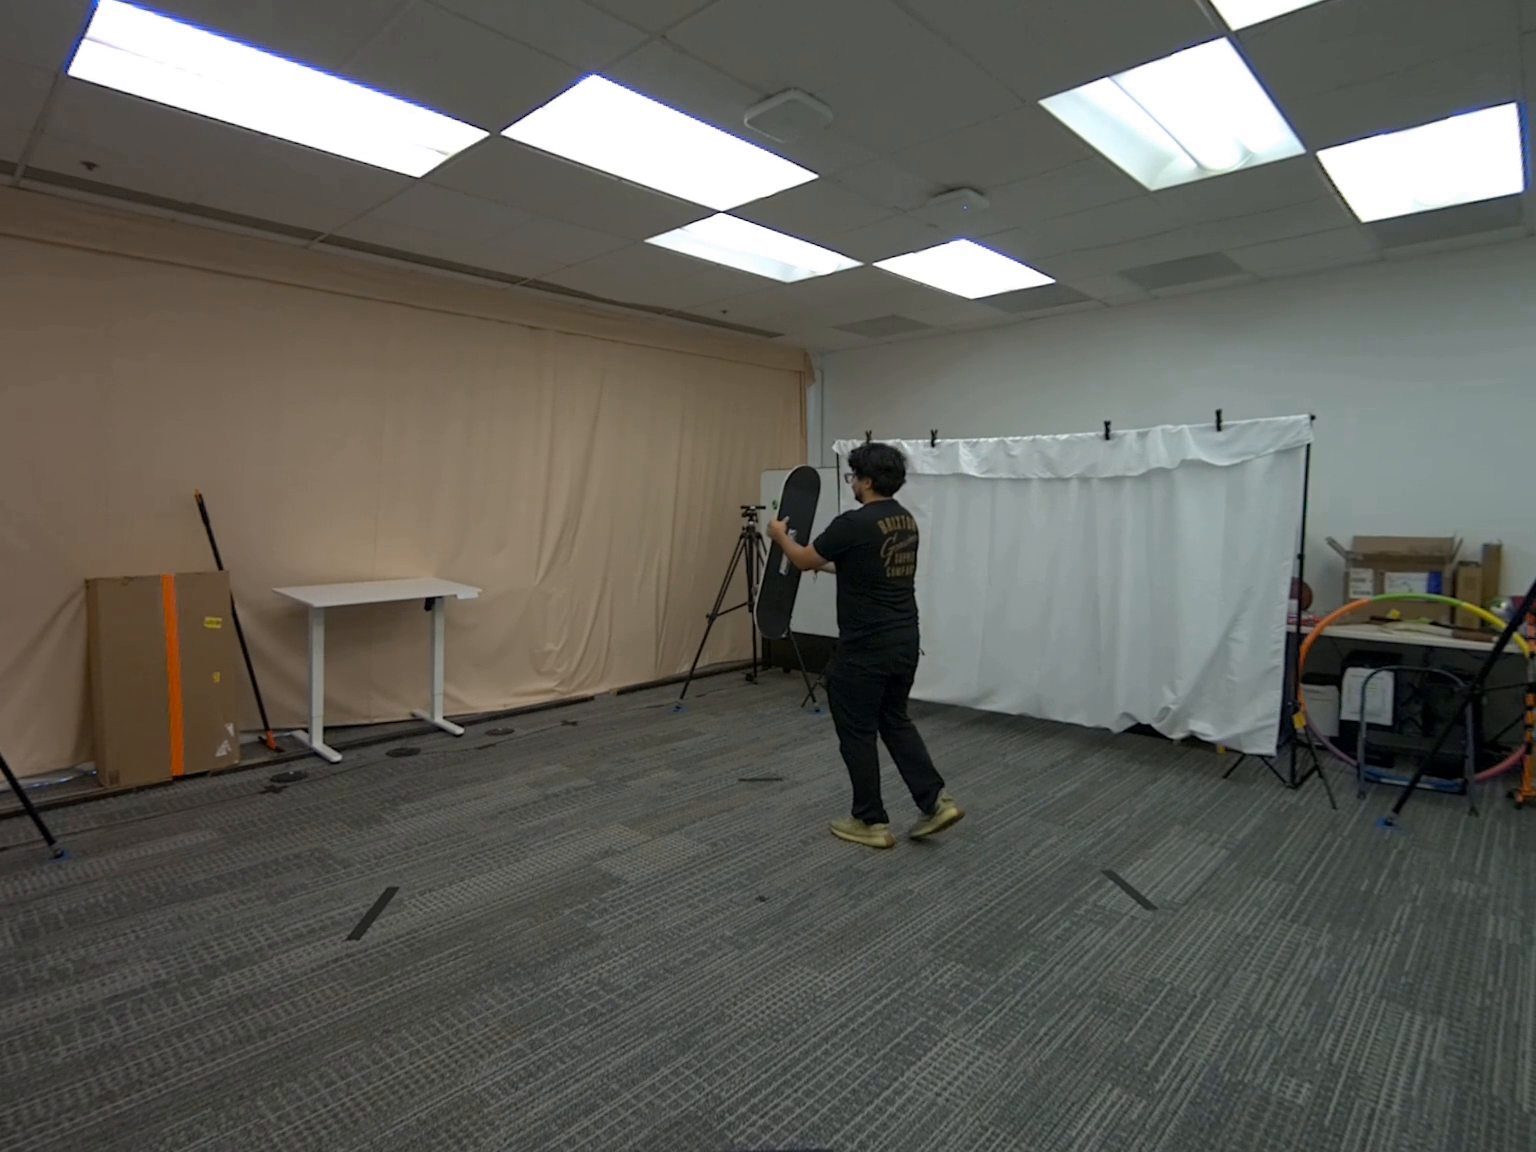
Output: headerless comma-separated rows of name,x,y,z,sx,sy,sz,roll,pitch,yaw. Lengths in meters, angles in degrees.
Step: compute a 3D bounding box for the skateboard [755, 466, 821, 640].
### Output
skateboard,0.081,-0.106,3.803,0.188,0.786,0.113,14,-2,-25
